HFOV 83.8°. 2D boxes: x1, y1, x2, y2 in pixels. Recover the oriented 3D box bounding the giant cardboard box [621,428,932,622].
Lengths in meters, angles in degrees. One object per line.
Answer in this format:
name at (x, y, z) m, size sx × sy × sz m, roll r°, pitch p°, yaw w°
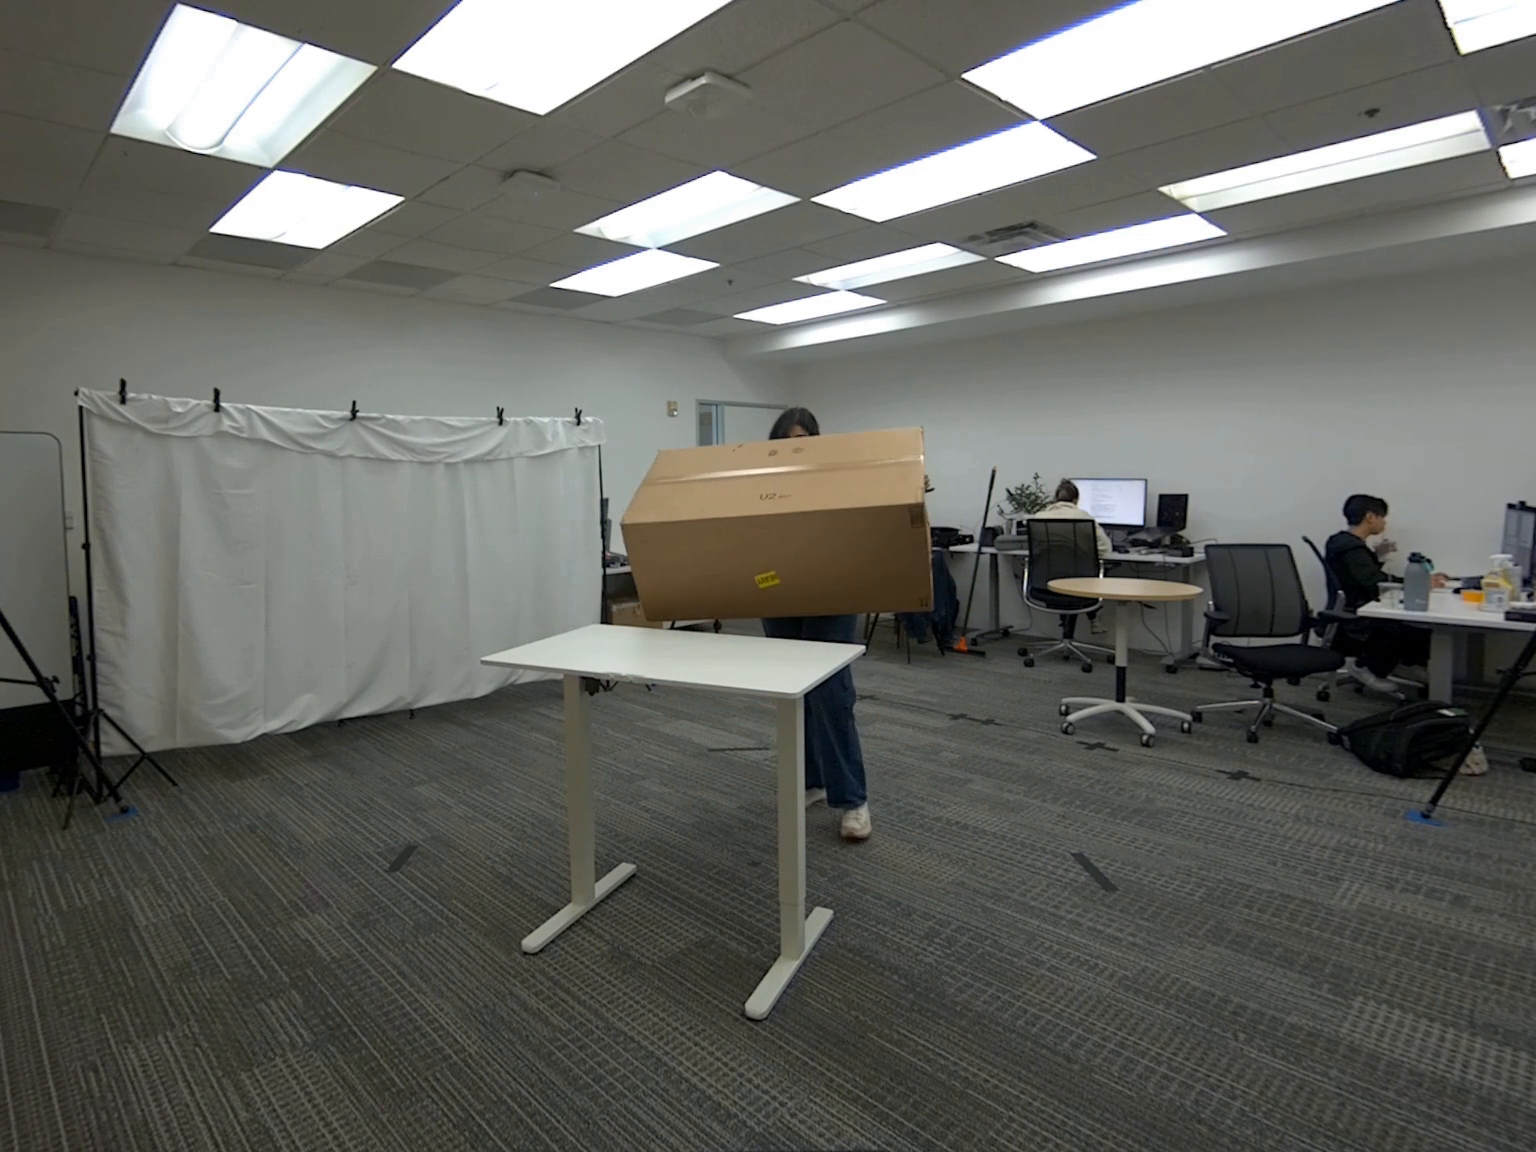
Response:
giant cardboard box at (0.063, -0.194, 3.114) m, size 1.039 × 0.414 × 0.586 m, roll -3°, pitch 32°, yaw 14°
